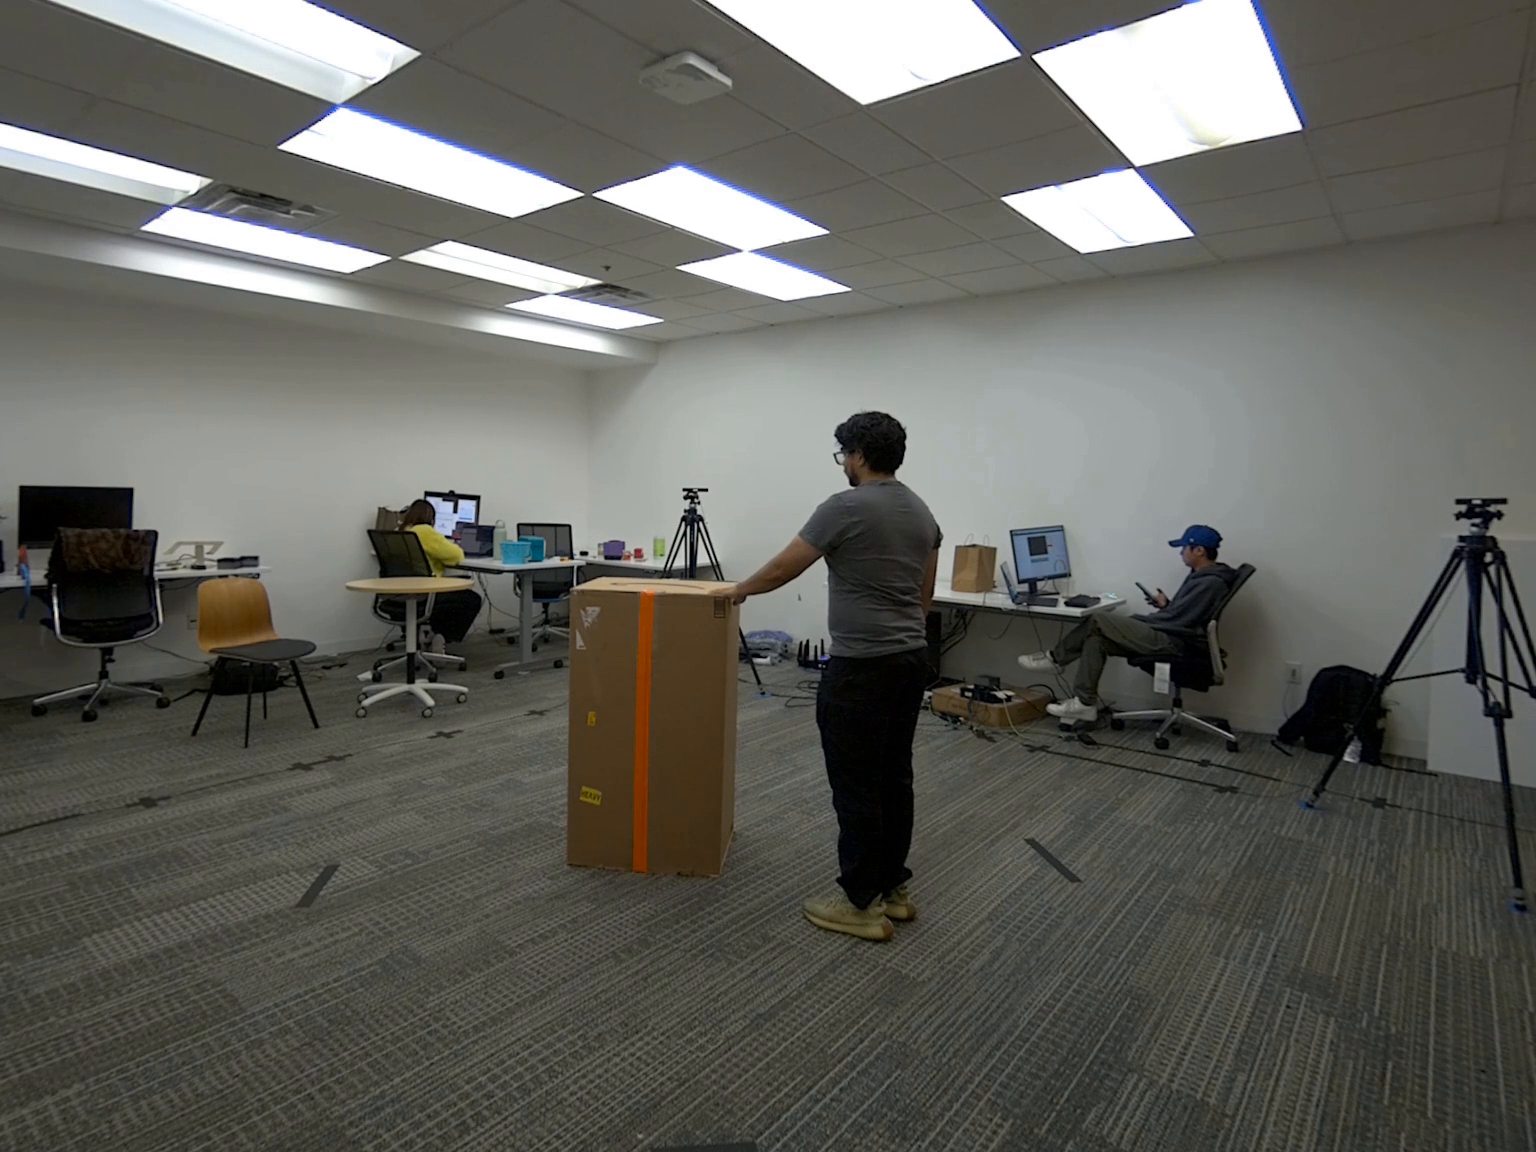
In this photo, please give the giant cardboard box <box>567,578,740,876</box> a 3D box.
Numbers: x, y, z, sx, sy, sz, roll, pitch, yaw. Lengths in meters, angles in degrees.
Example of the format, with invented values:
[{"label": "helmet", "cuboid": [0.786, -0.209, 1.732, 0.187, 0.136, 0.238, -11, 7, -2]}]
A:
[{"label": "giant cardboard box", "cuboid": [-0.437, 0.541, 3.258, 0.583, 1.022, 0.424, 2, 4, 7]}]
